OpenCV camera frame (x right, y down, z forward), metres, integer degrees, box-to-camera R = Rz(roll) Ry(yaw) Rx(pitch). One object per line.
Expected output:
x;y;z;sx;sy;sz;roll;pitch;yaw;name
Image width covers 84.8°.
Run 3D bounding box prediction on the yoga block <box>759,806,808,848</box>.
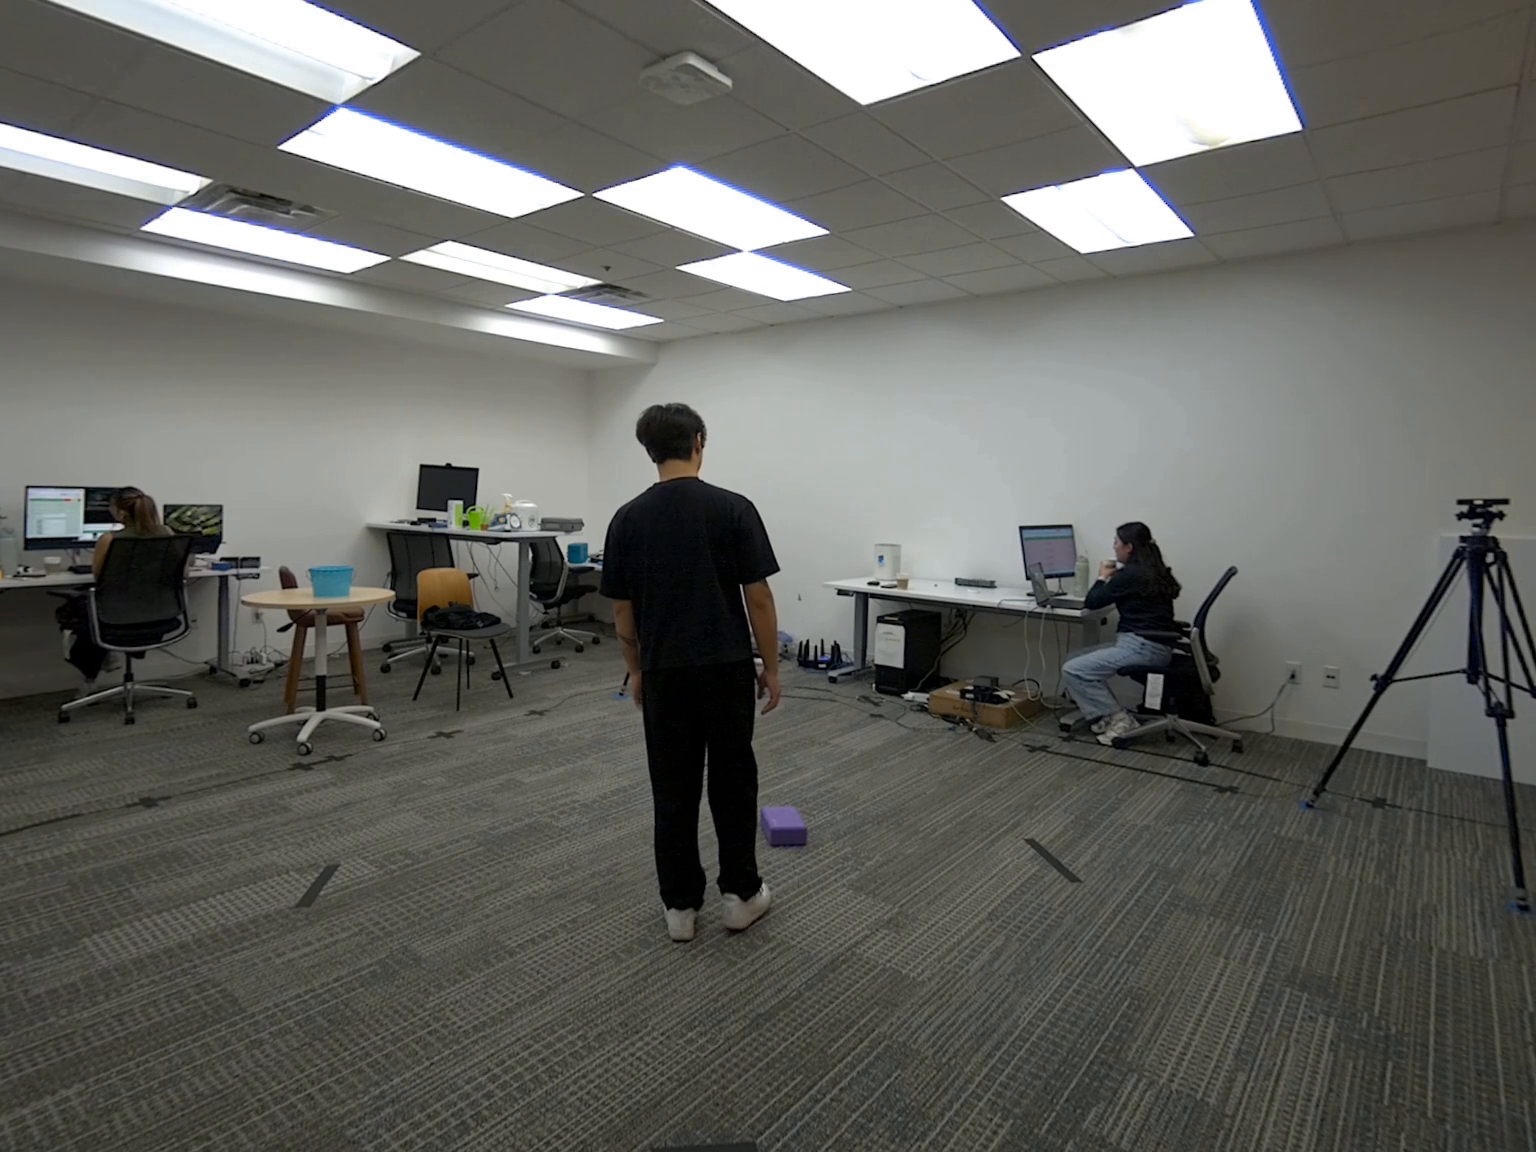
0.055;1.003;3.439;0.147;0.076;0.232;-1;5;-10;yoga block
